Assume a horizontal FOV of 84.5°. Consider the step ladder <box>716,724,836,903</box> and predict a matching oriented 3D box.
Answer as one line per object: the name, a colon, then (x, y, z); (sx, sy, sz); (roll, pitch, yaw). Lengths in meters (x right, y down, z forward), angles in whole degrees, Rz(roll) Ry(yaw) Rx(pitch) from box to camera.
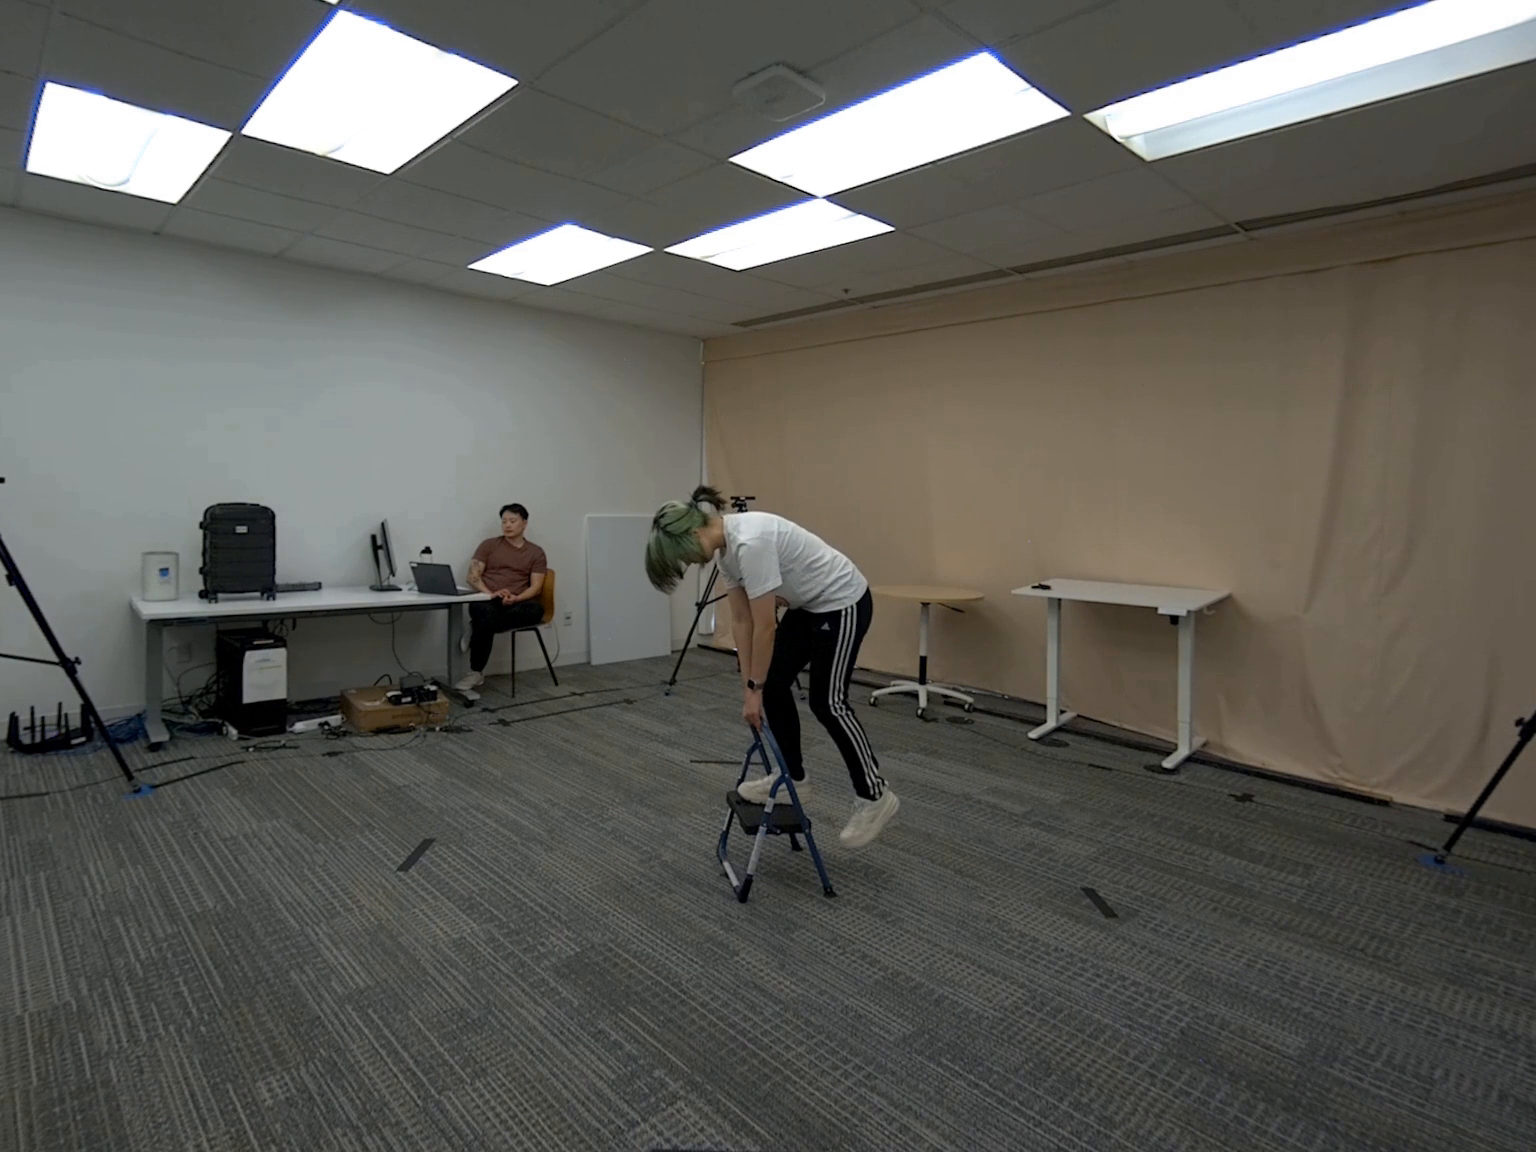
step ladder: (0.016, 0.809, 3.104); (0.345, 0.605, 0.436); (1, 3, -15)
